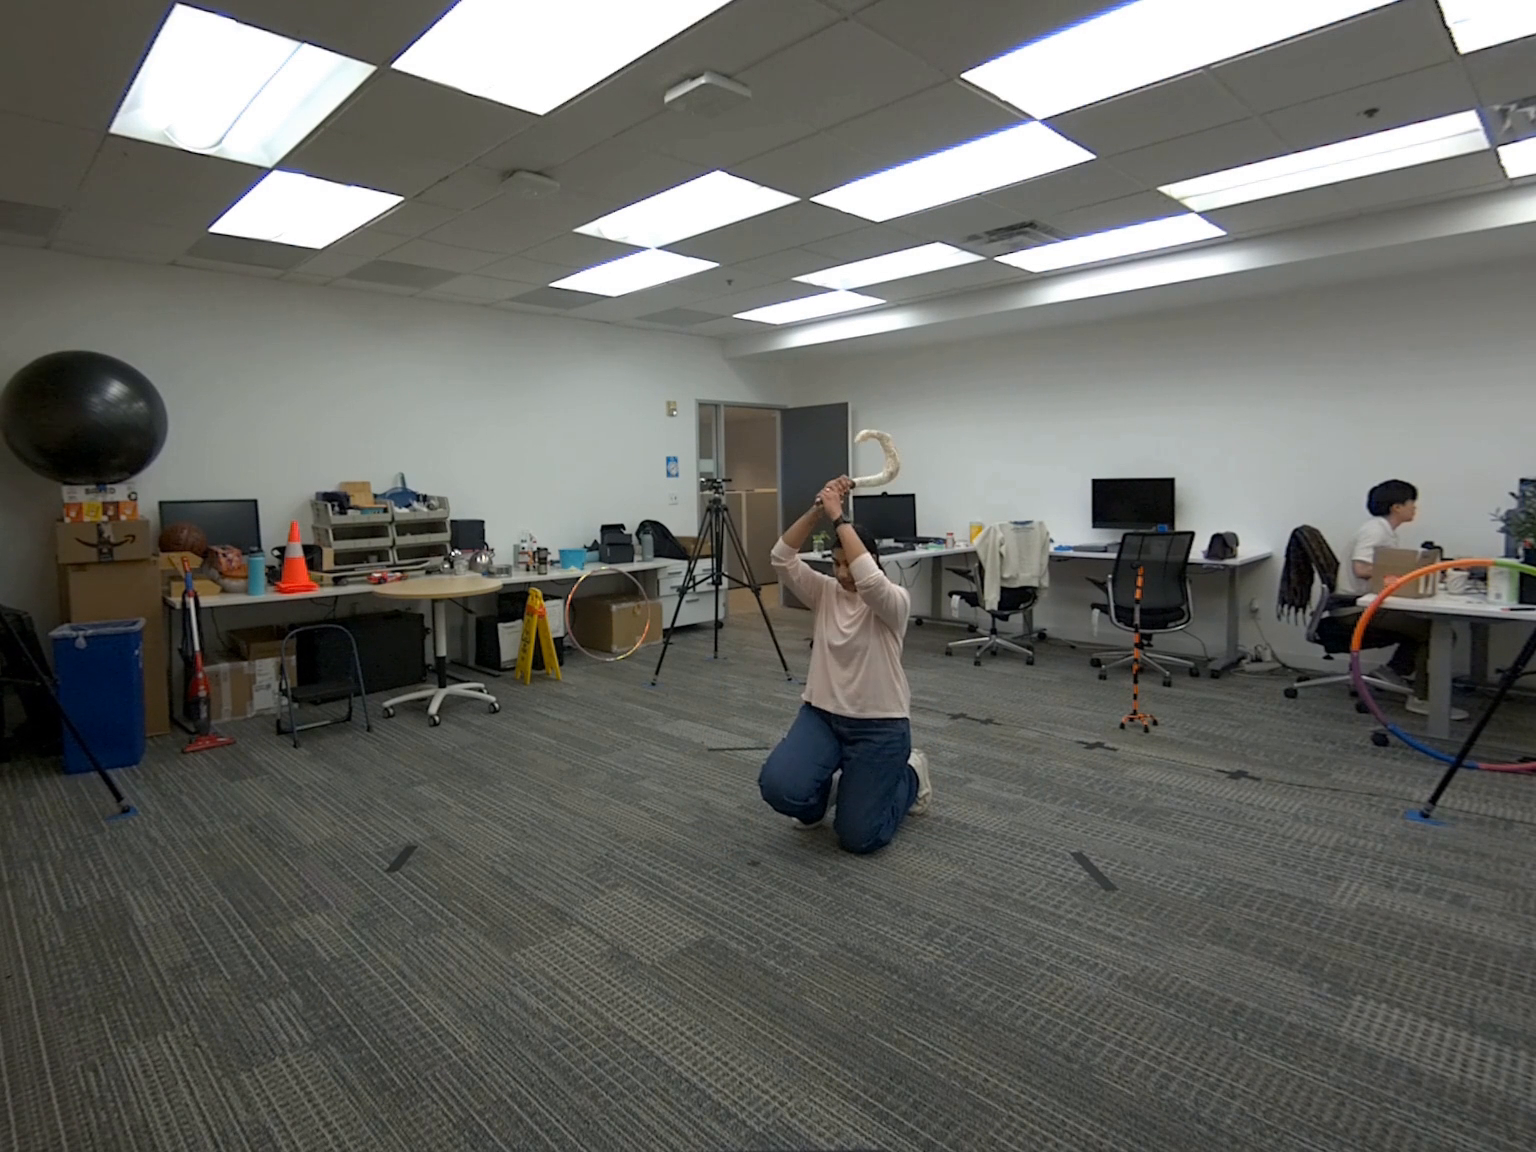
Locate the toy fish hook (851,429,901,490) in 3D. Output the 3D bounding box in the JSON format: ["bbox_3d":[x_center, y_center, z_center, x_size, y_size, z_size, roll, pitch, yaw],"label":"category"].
[{"bbox_3d":[0.310,-0.410,3.220,0.501,0.224,0.049,-33,5,-36],"label":"toy fish hook"}]
